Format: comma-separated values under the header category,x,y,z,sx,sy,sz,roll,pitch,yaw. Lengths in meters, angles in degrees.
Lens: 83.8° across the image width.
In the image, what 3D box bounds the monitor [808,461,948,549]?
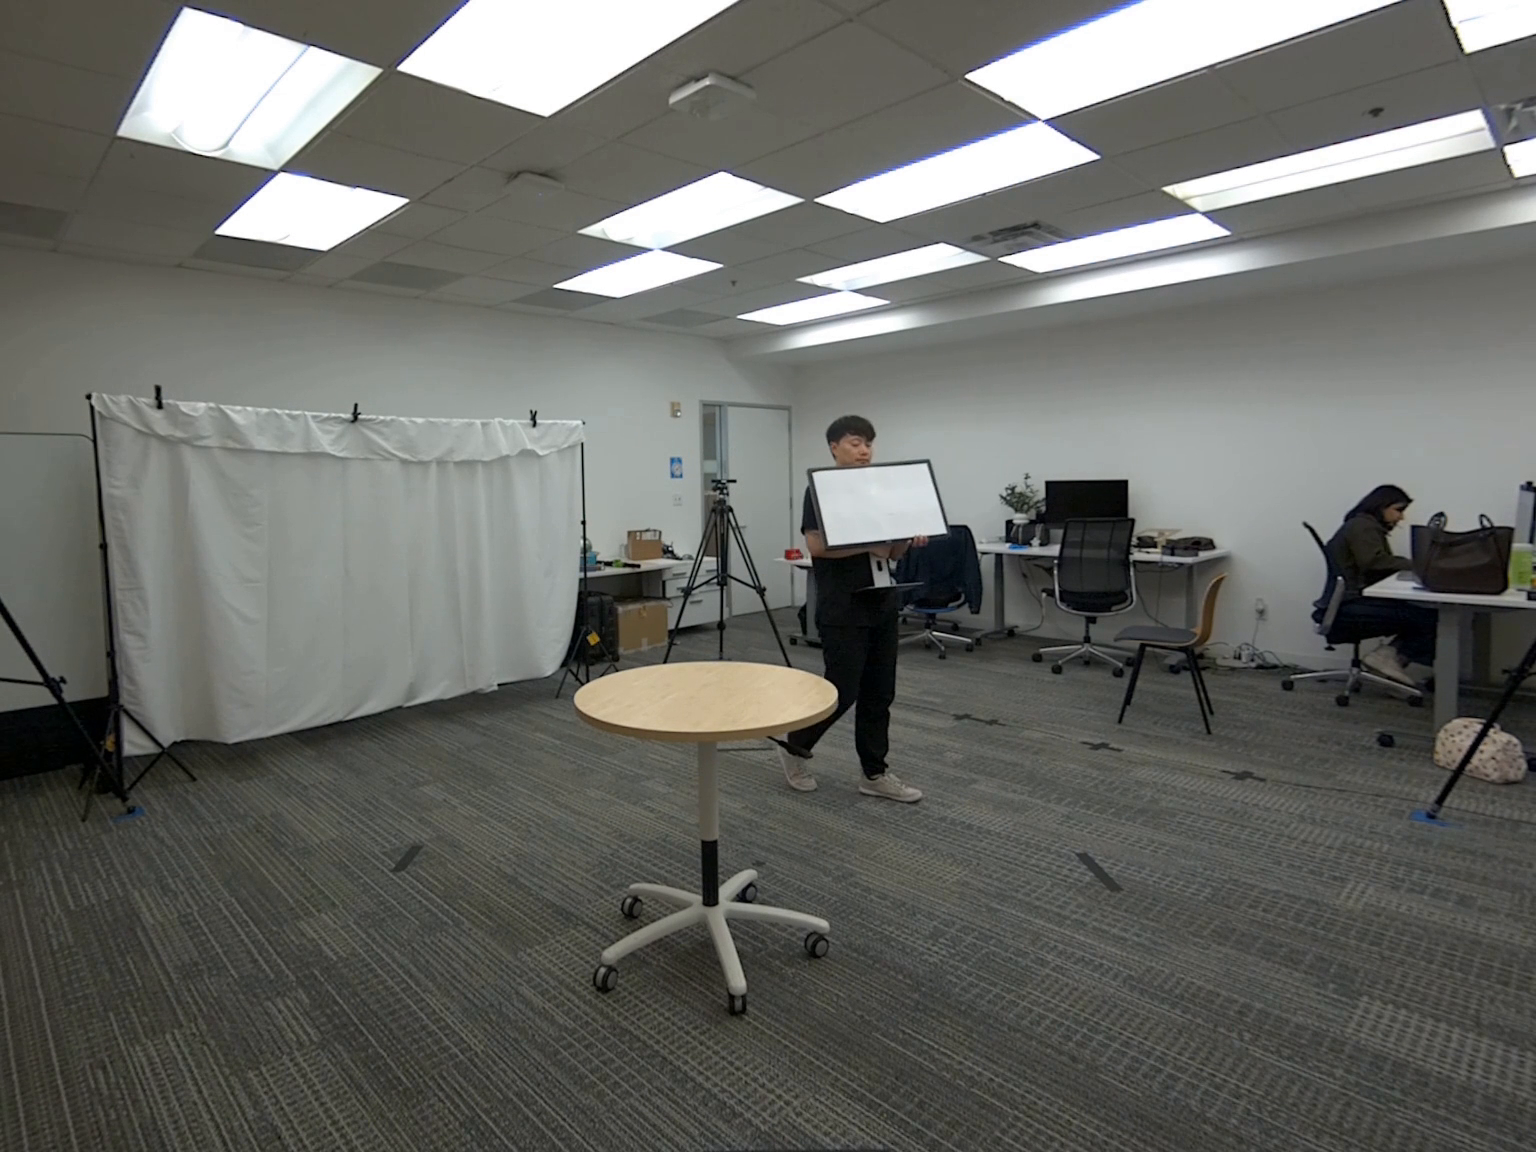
category,x,y,z,sx,sy,sz,roll,pitch,yaw
monitor,0.456,-0.205,3.577,0.531,0.527,0.188,-6,-9,-17
